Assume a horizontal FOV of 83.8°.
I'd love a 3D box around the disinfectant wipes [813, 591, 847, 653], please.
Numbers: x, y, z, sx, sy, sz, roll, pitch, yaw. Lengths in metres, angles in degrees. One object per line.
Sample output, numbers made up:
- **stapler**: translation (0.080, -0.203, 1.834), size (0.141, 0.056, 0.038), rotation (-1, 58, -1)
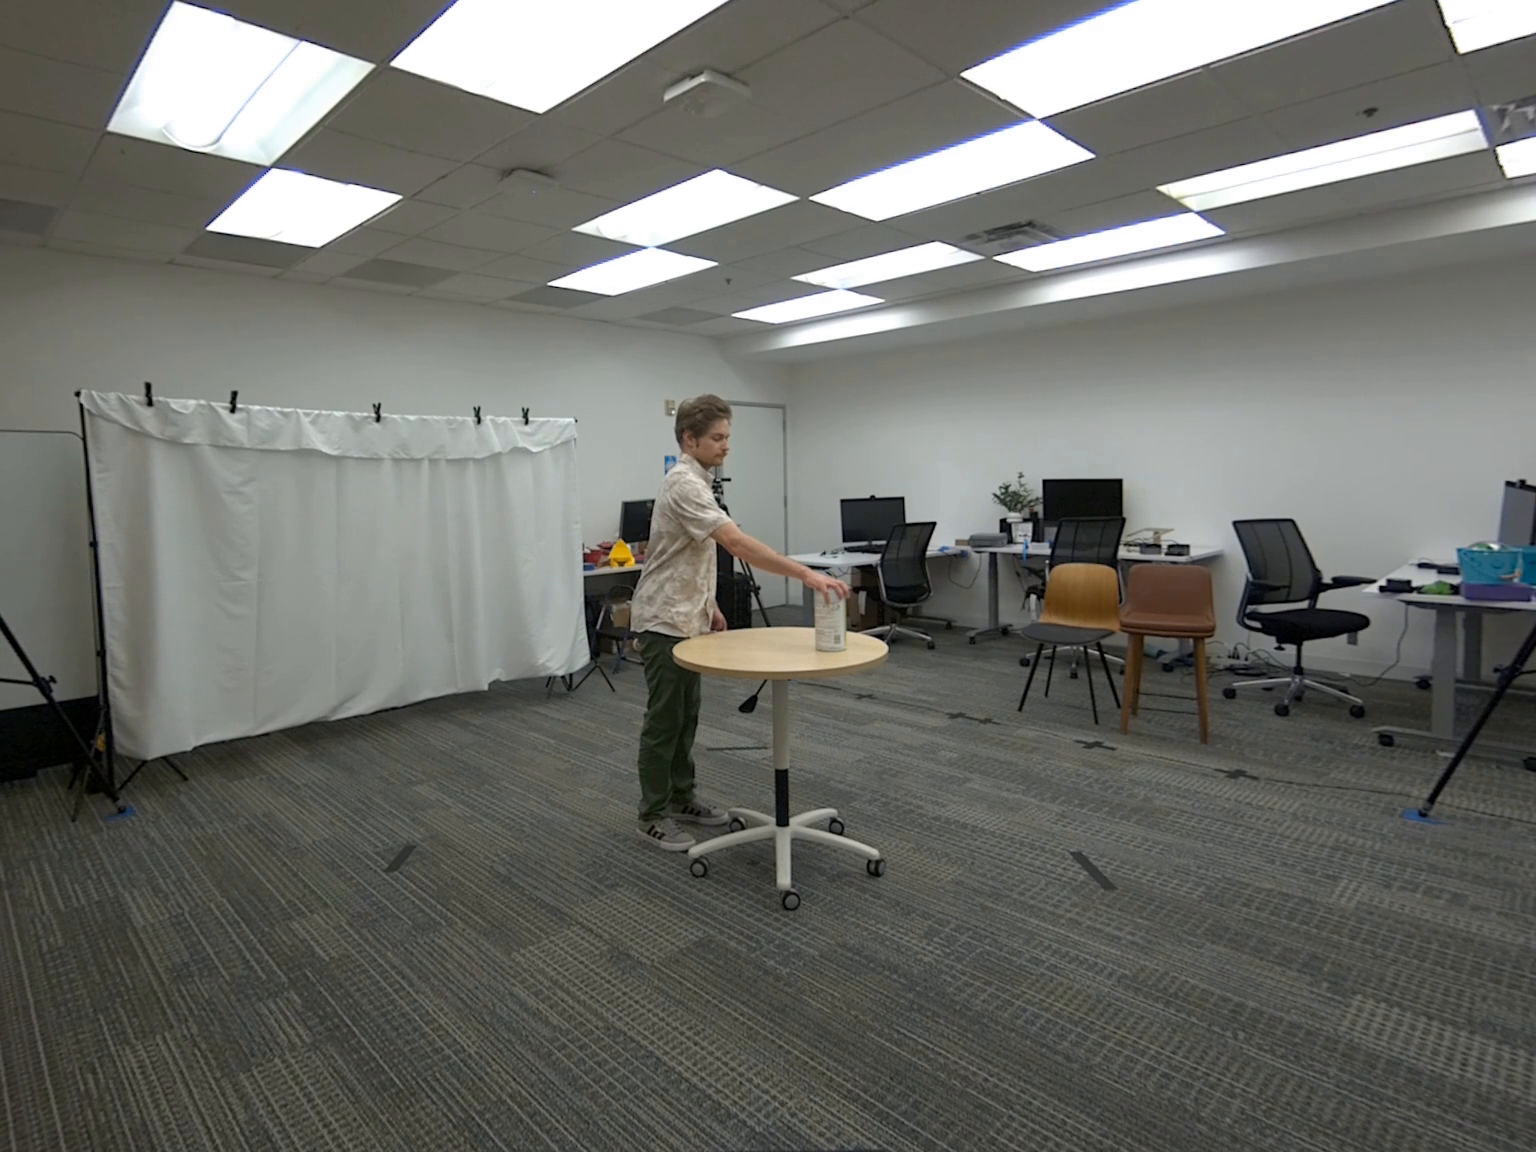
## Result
- **disinfectant wipes**: translation (0.220, 0.148, 2.988), size (0.118, 0.217, 0.118), rotation (-4, 4, -1)
